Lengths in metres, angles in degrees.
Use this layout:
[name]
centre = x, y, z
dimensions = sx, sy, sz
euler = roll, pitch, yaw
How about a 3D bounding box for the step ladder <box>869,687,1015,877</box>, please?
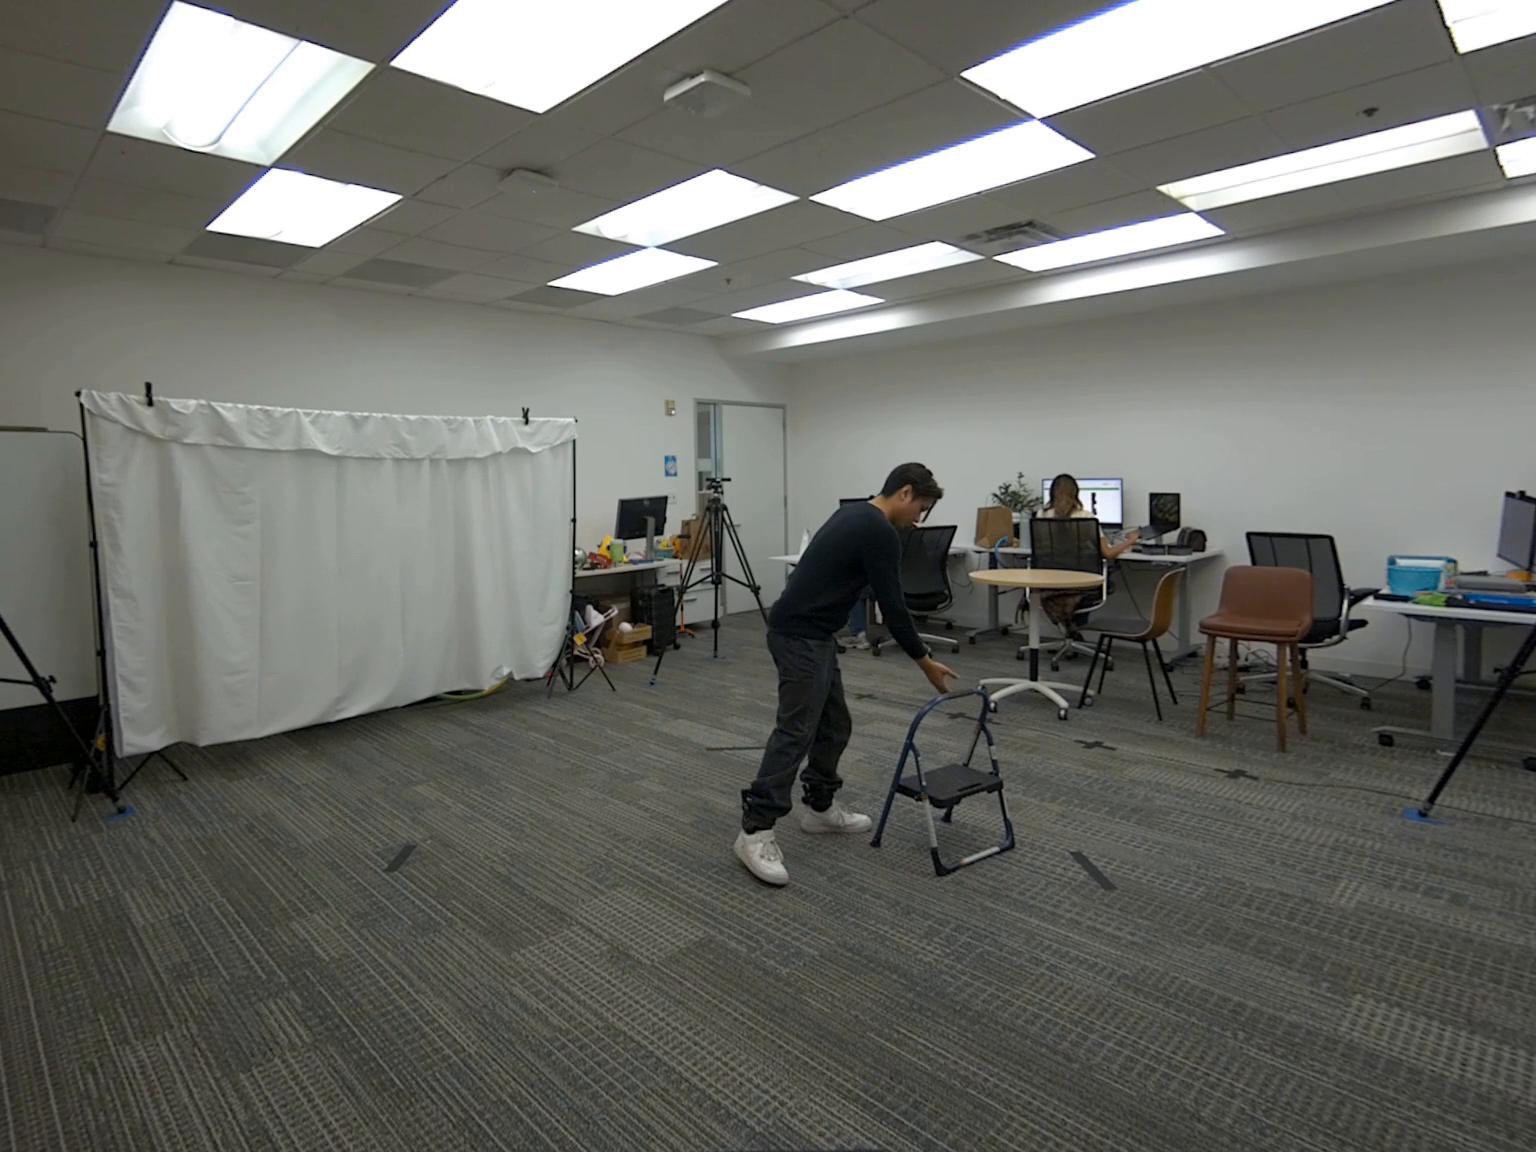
[step ladder]
centre = 0.653, 0.717, 3.196
dimensions = 0.419, 0.604, 0.359
euler = -3, 4, -36
